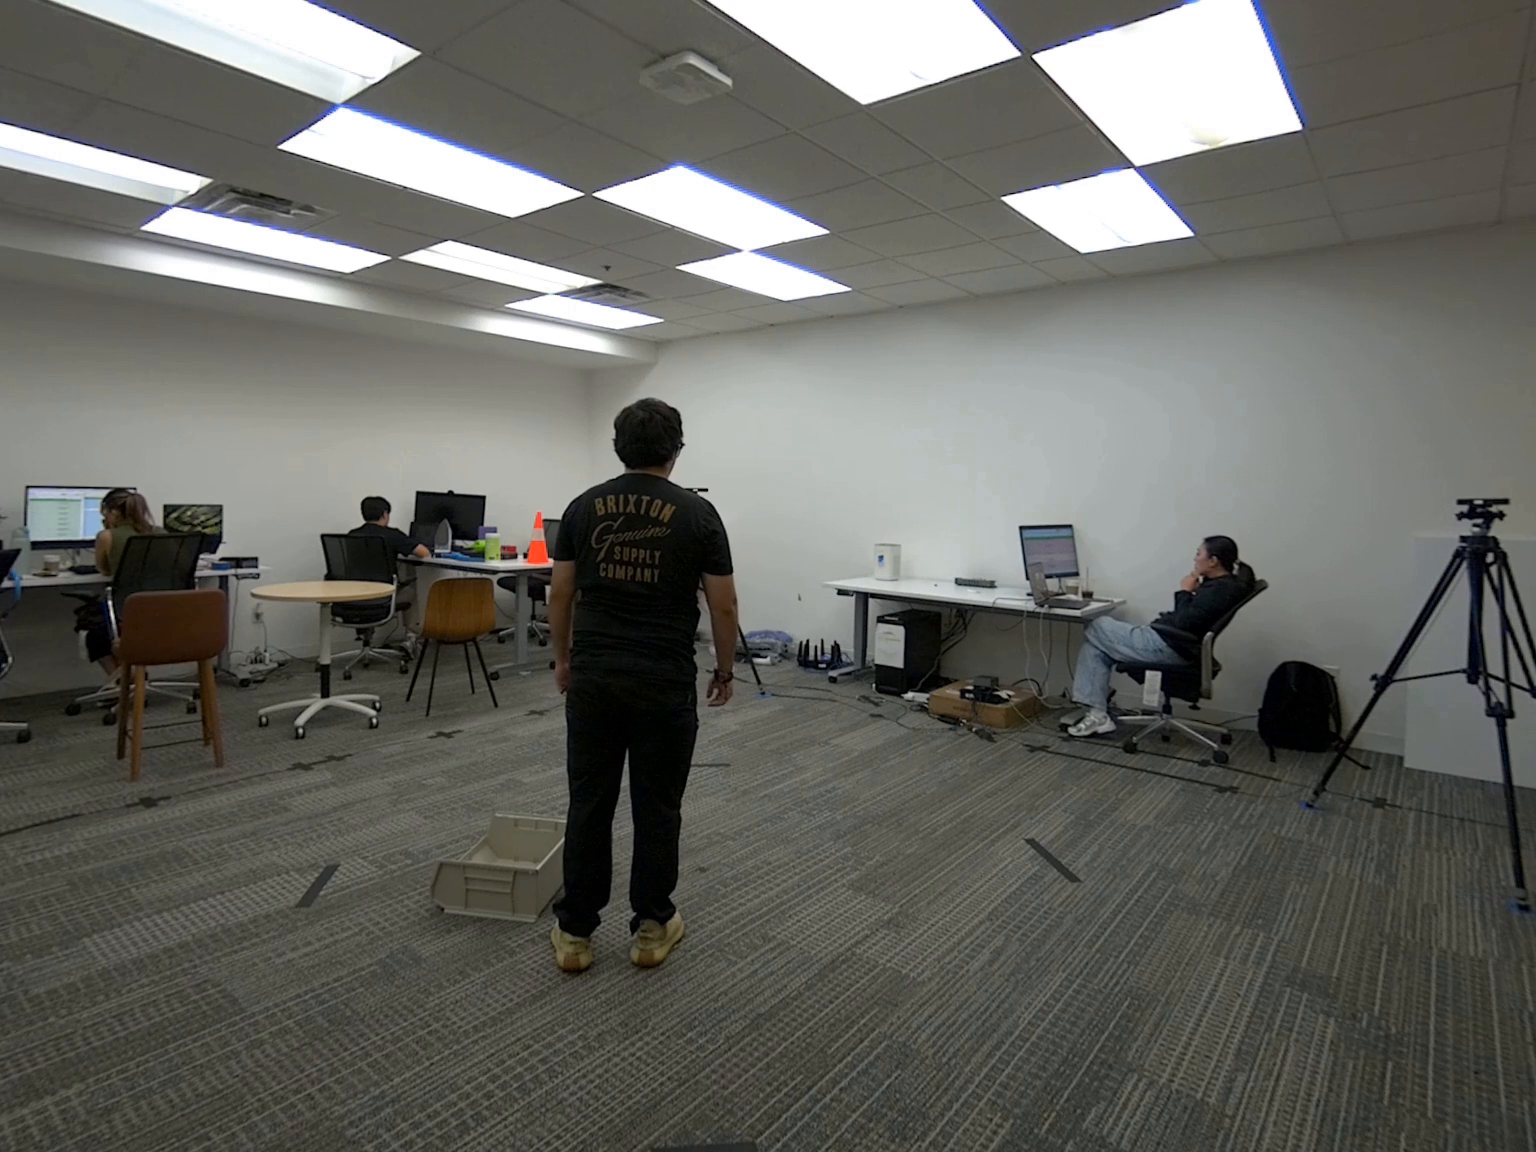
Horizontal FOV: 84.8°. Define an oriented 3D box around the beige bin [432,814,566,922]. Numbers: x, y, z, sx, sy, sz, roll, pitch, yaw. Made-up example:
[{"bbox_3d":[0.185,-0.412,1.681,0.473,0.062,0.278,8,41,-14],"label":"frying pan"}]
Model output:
[{"bbox_3d":[-0.903,0.989,2.926,0.381,0.188,0.419,3,5,8],"label":"beige bin"}]
